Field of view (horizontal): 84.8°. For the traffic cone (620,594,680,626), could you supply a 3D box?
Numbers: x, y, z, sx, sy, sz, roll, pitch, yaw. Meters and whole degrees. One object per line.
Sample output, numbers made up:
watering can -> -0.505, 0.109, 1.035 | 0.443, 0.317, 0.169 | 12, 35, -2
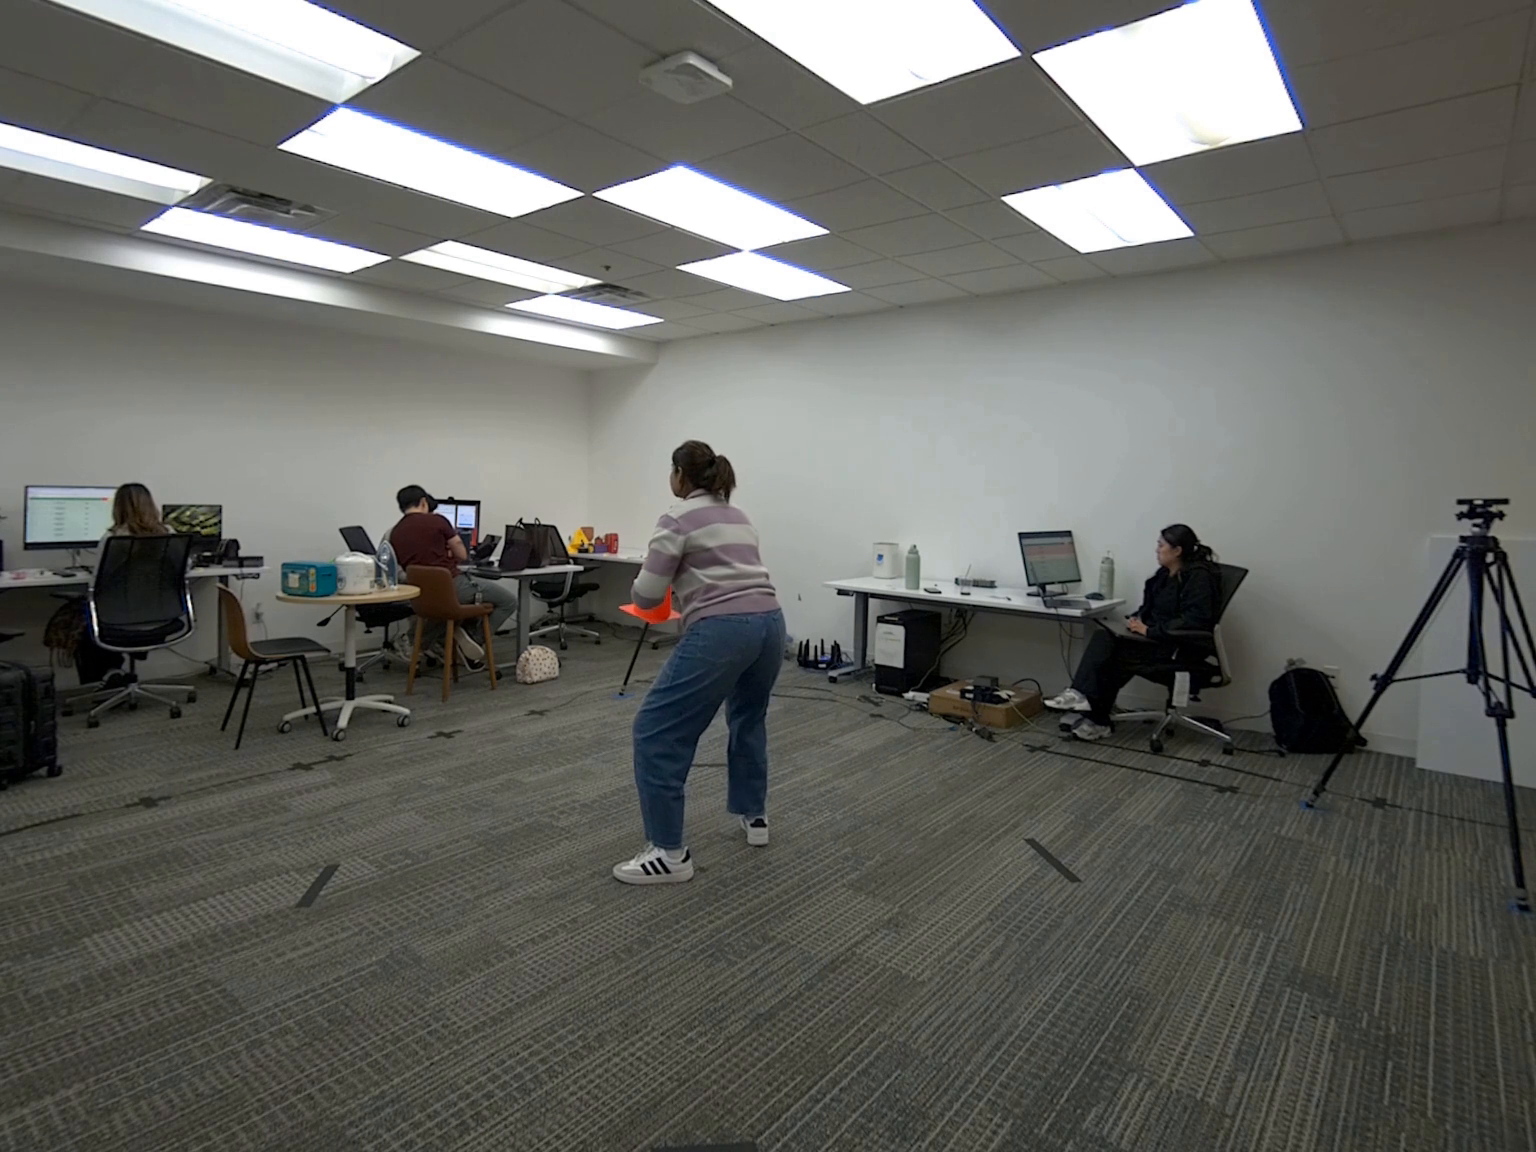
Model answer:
traffic cone -> -0.454, -0.020, 3.429 | 0.210, 0.380, 0.200 | 20, 15, 29
